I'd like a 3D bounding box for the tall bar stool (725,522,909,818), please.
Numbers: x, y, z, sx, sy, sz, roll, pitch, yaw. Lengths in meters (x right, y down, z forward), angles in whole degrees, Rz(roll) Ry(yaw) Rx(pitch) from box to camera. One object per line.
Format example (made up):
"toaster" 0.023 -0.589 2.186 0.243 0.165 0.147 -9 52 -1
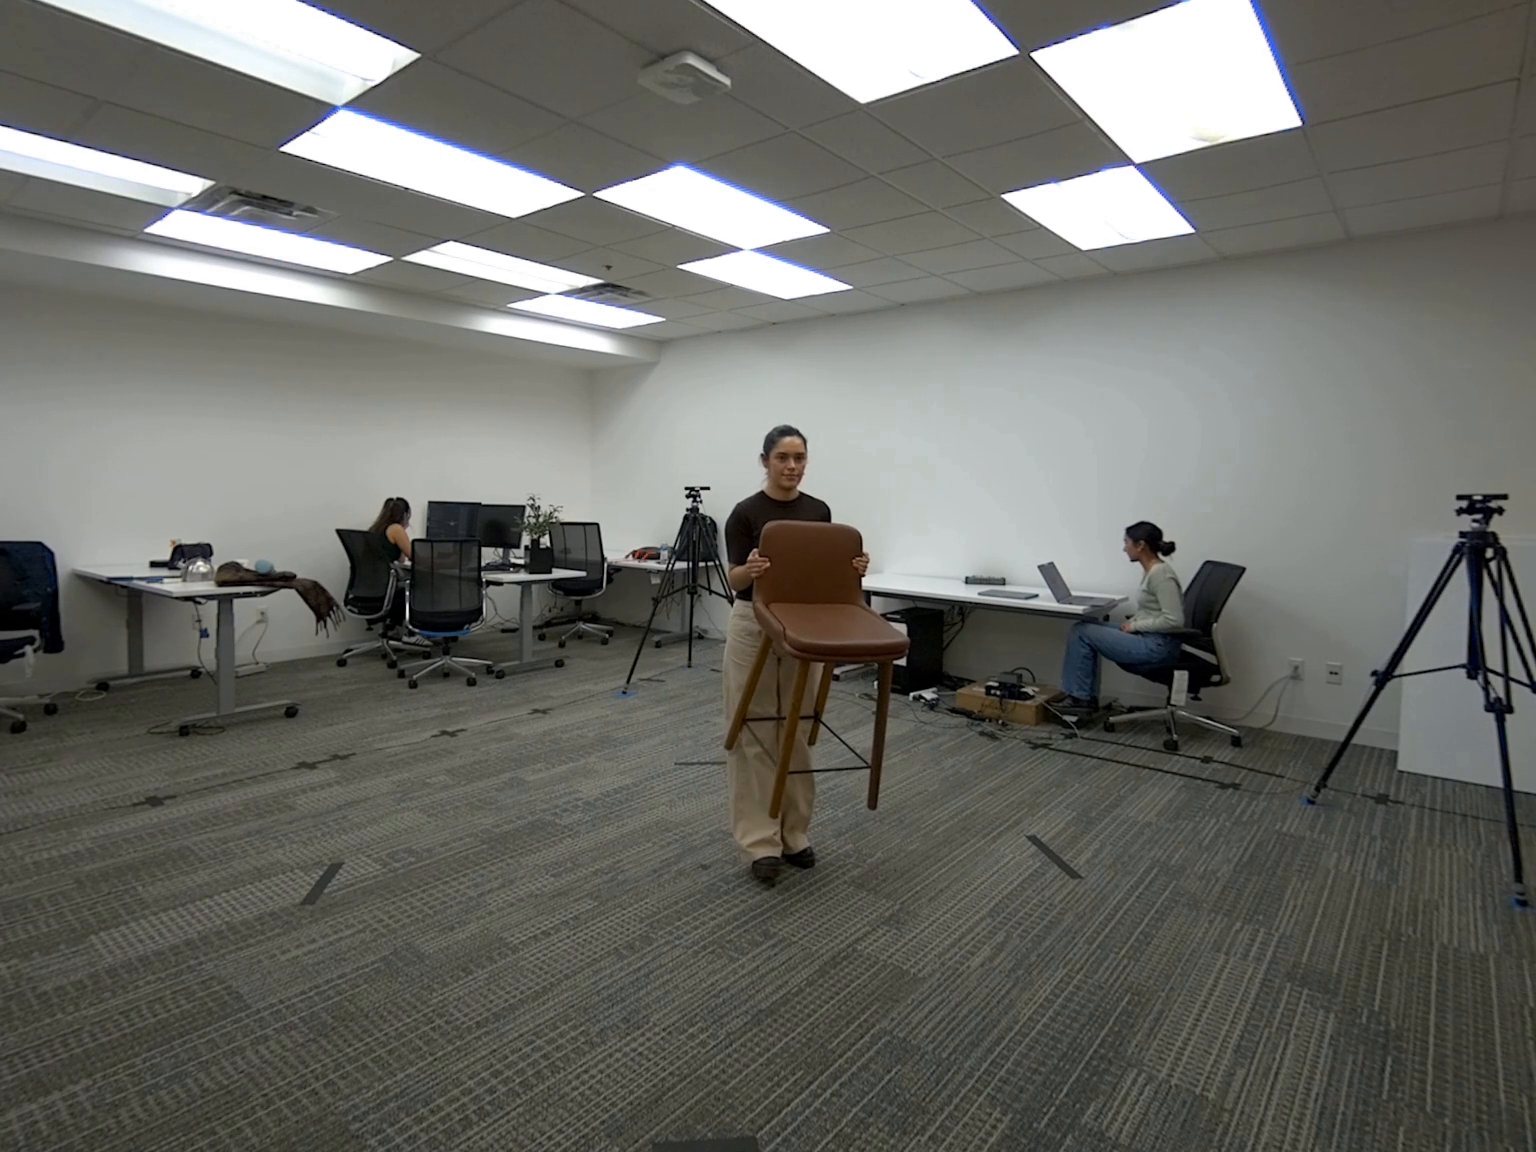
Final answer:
"tall bar stool" 0.174 0.300 2.901 0.445 0.881 0.484 4 14 -25
